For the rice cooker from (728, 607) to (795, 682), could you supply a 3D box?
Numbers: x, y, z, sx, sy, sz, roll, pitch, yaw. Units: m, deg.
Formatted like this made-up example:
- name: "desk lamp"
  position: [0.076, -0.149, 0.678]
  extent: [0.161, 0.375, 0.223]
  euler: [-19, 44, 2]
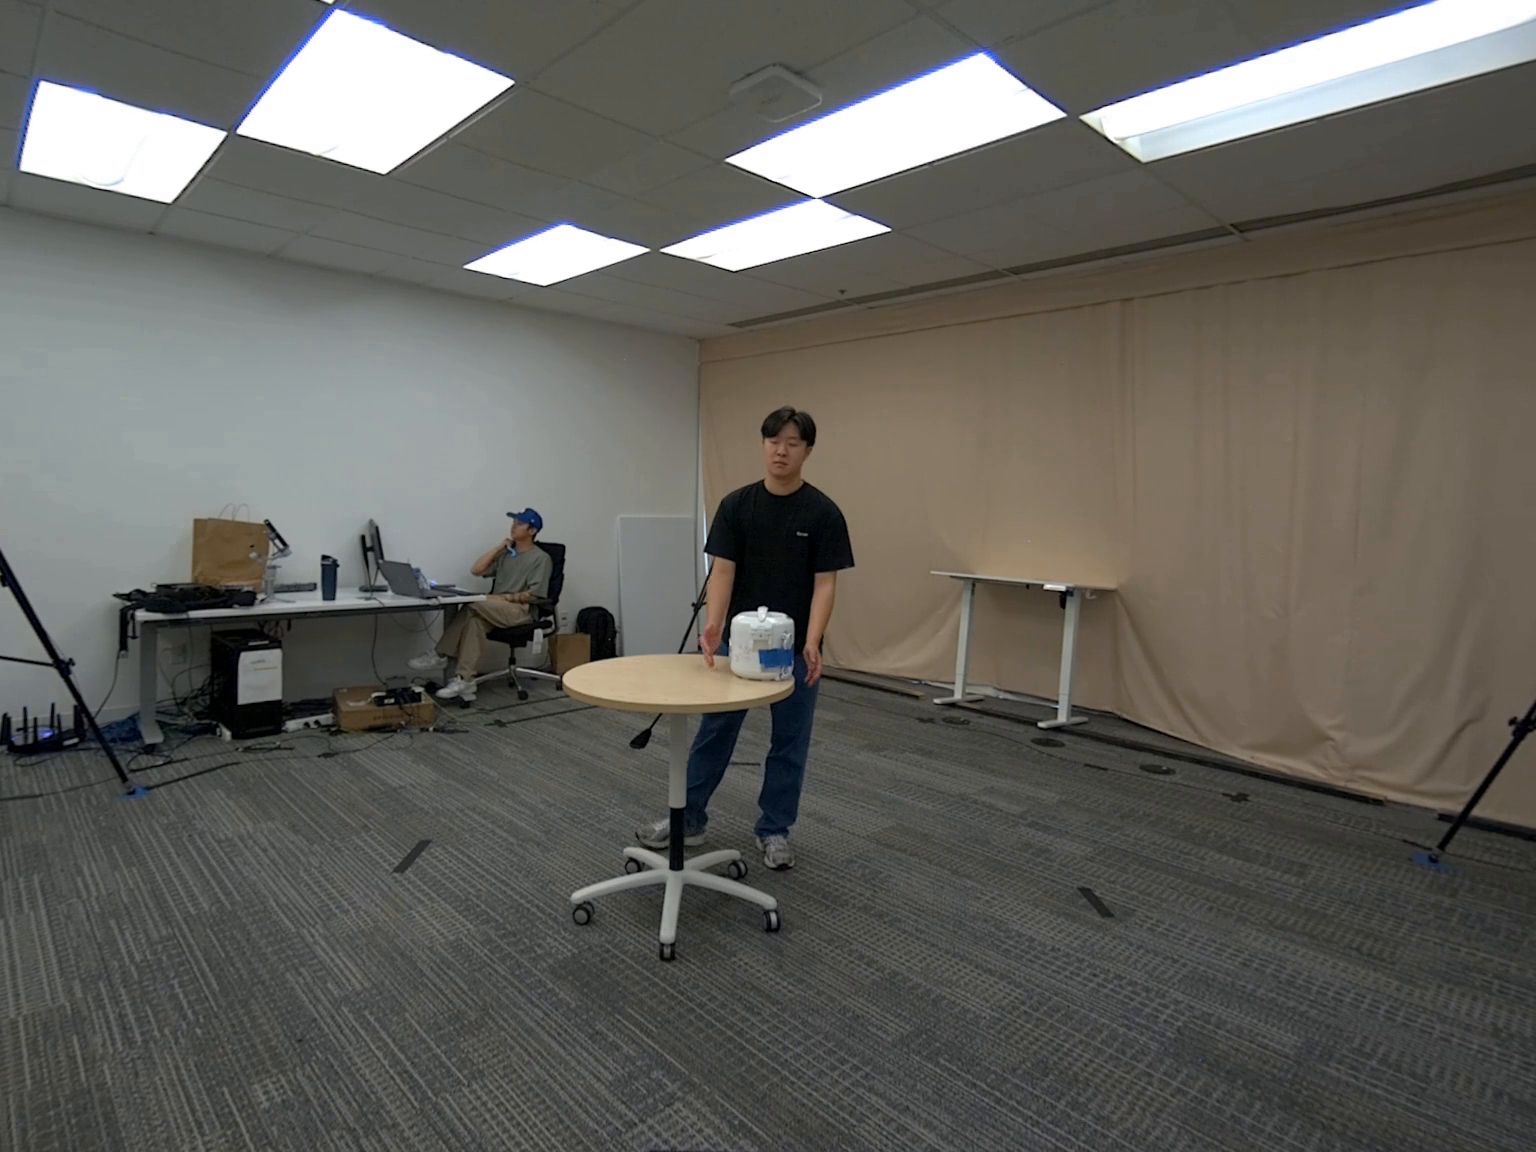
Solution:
- name: "rice cooker"
  position: [-0.028, 0.222, 2.821]
  extent: [0.218, 0.232, 0.220]
  euler: [3, 5, 3]
